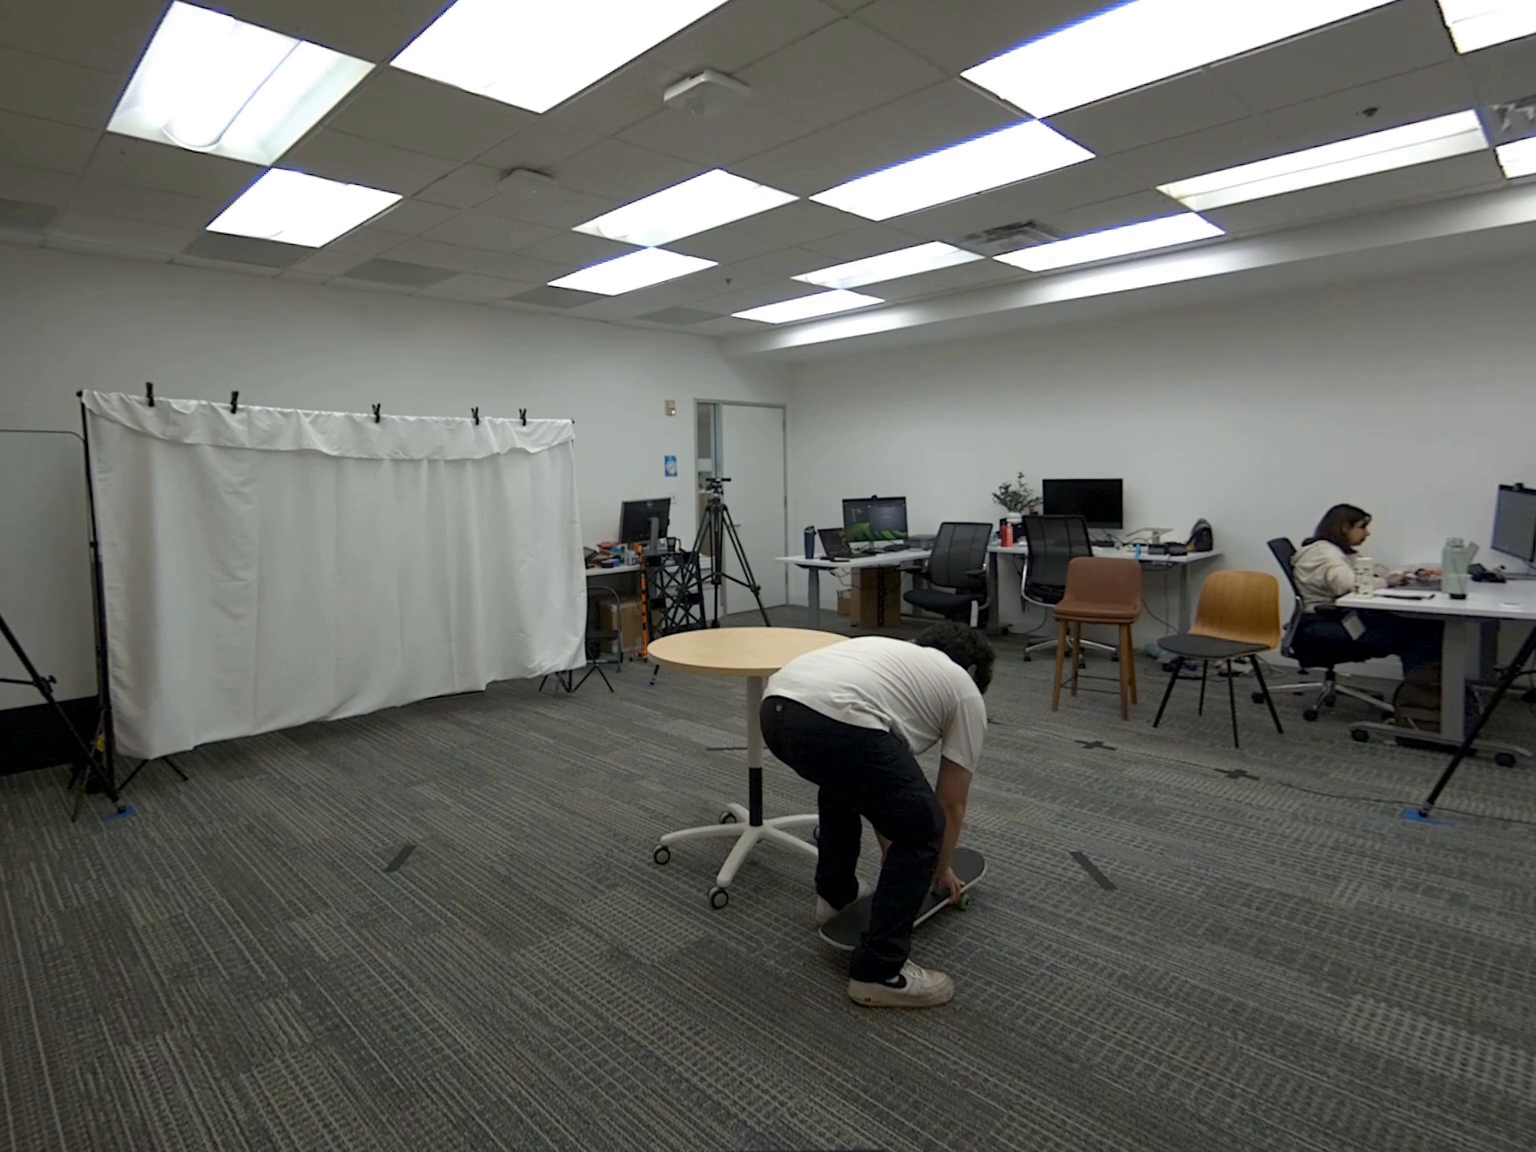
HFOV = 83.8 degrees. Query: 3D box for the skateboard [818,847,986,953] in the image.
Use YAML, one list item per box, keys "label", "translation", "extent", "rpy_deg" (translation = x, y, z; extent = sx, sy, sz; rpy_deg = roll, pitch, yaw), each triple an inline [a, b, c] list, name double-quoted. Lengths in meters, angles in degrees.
- label: "skateboard"
  translation: [0.443, 1.032, 2.659]
  extent: [0.199, 0.110, 0.765]
  rpy_deg: [5, 9, 44]
